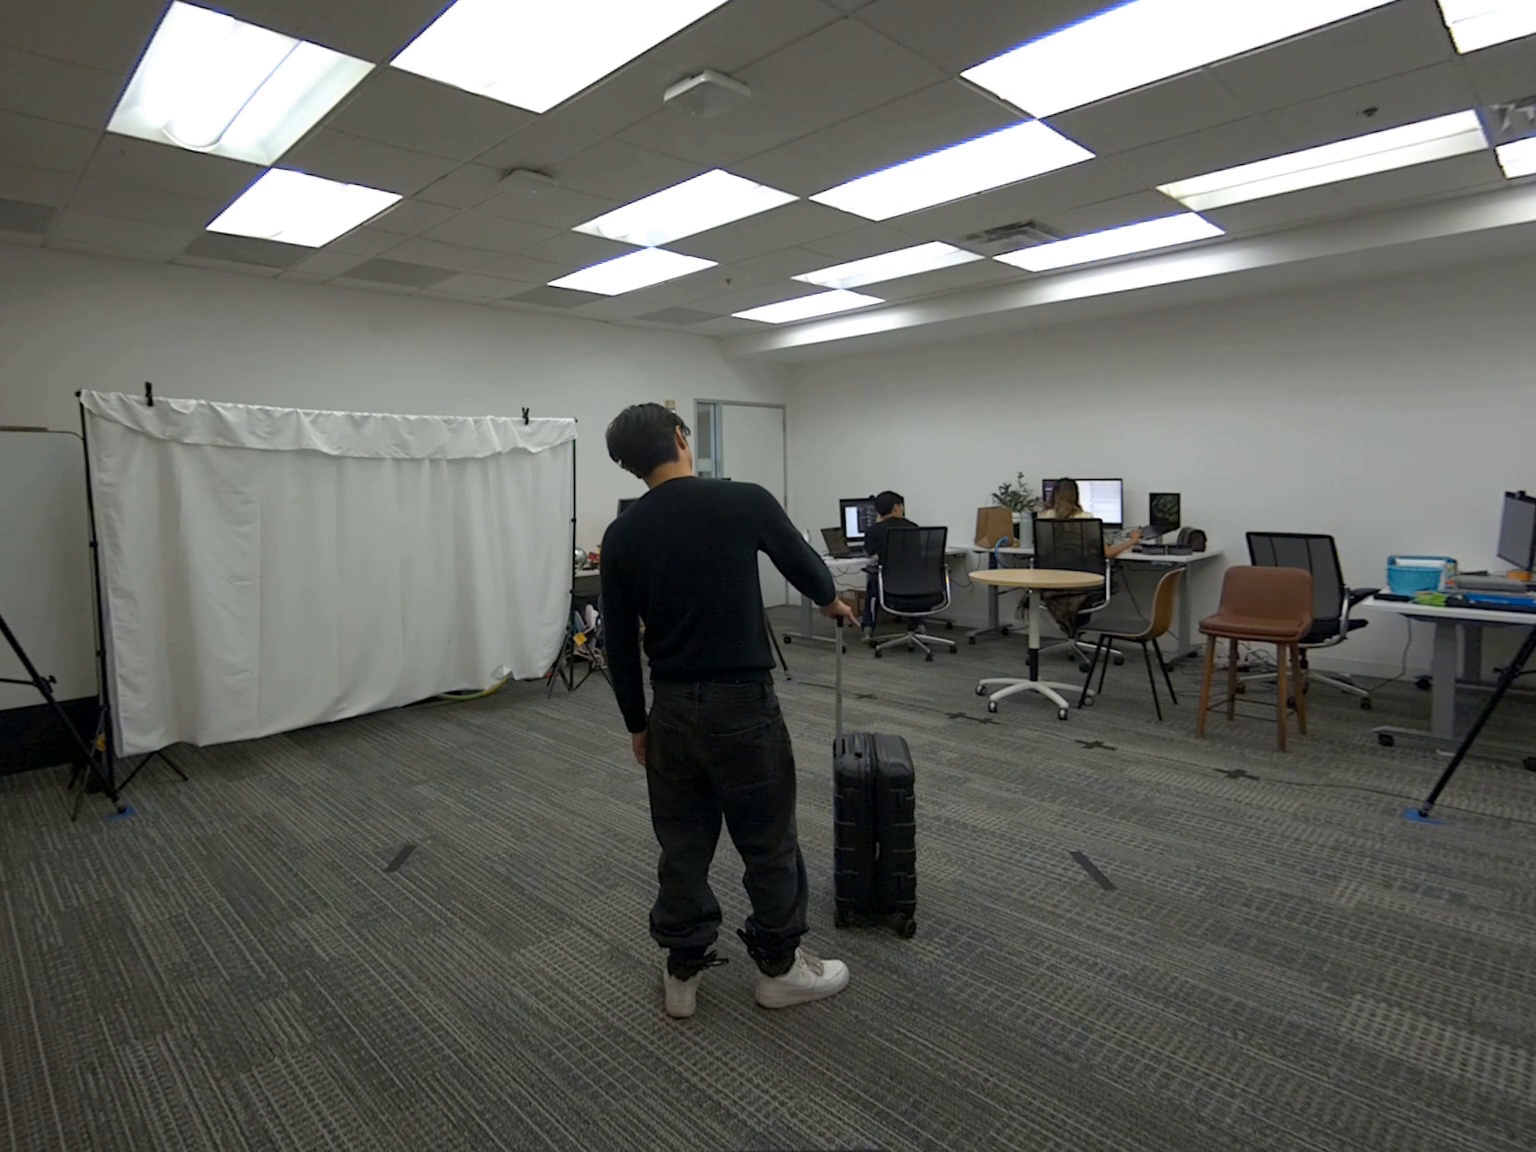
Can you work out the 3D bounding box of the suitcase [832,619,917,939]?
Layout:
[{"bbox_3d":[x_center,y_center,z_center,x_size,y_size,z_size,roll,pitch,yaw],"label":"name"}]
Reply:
[{"bbox_3d":[0.344,0.602,2.736,0.258,0.975,0.383,1,5,5],"label":"suitcase"}]
